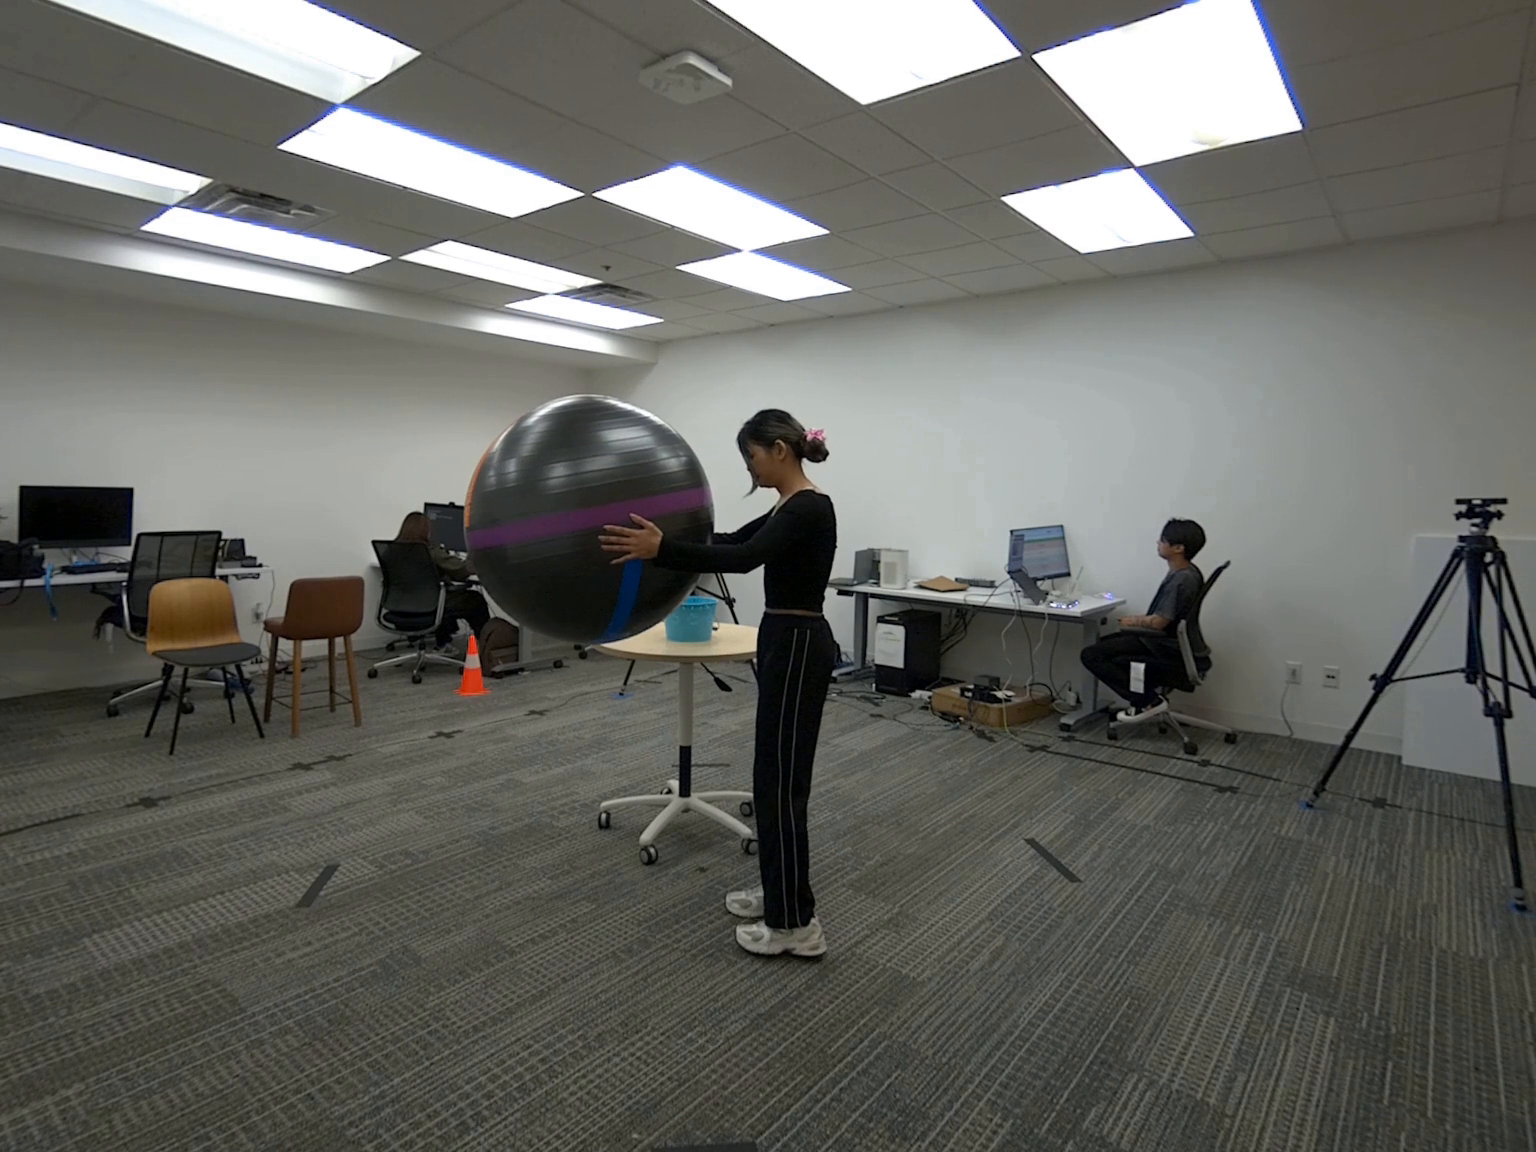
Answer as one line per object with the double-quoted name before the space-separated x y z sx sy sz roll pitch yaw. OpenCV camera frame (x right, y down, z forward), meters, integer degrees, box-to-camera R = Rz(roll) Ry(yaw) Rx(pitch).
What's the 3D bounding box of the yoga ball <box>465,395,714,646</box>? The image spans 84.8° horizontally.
"yoga ball" -0.562 -0.166 2.628 0.757 0.756 0.762 1 4 -2
